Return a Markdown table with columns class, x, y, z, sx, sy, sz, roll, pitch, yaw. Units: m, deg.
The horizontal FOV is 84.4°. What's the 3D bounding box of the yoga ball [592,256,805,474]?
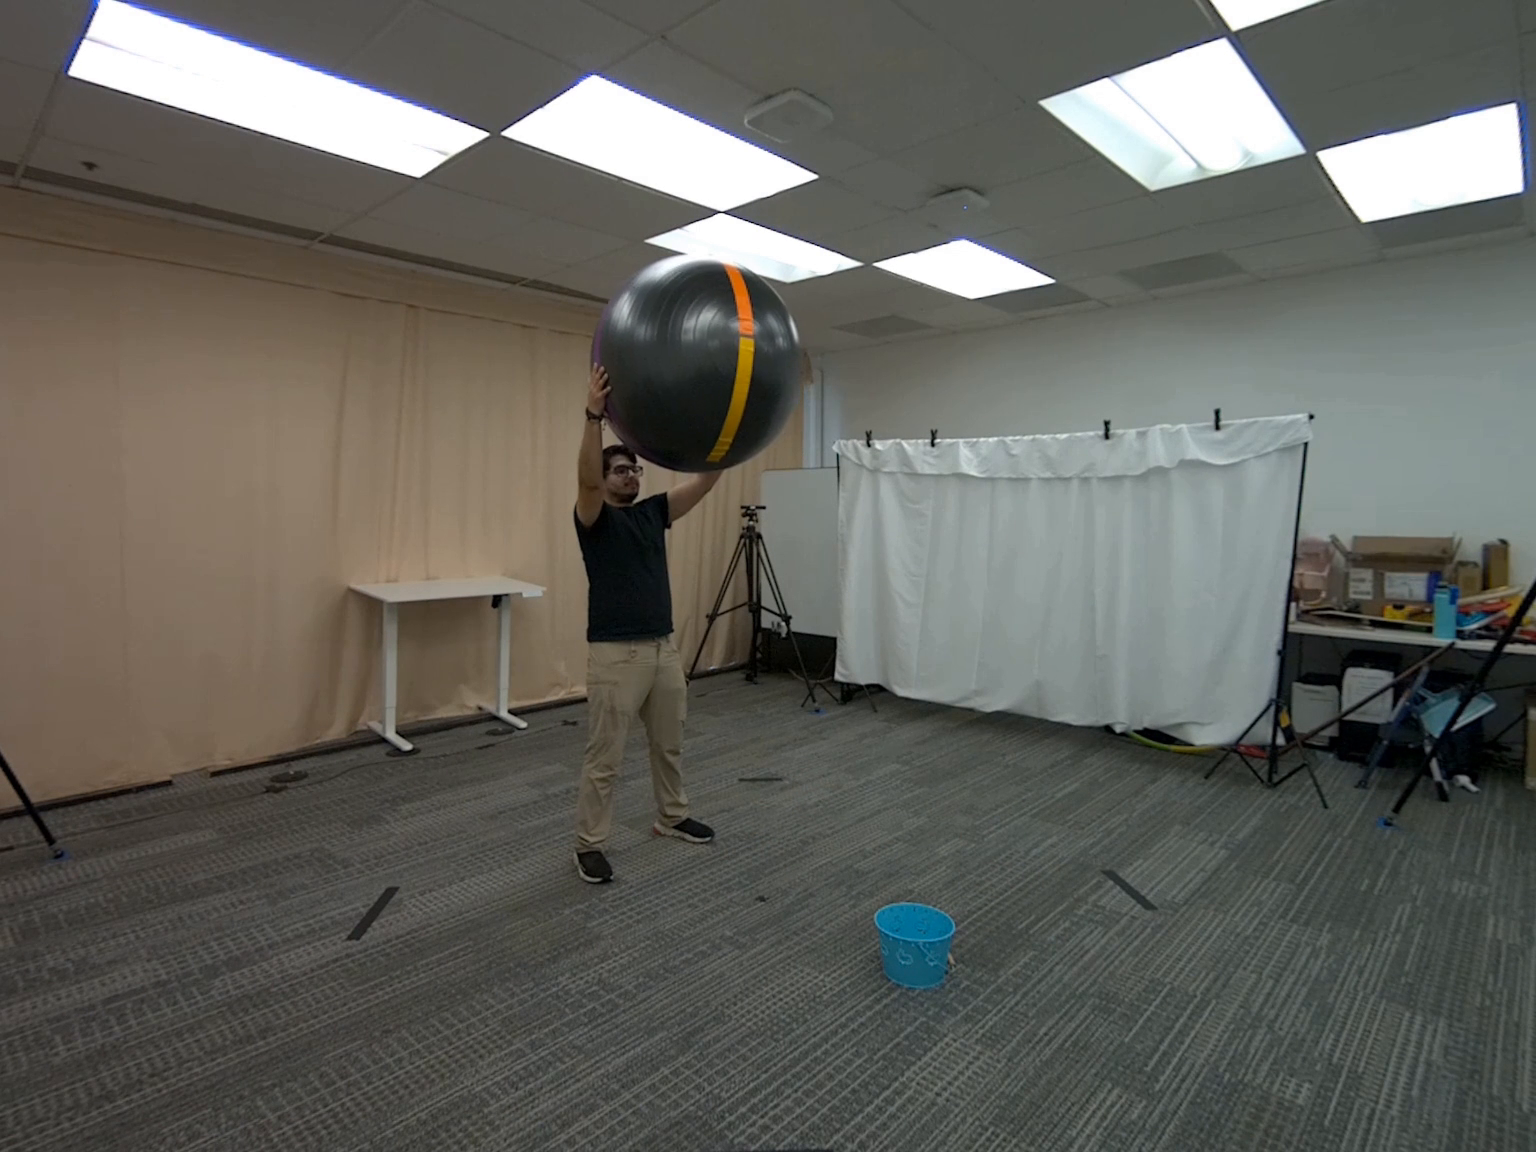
| class | x | y | z | sx | sy | sz | roll | pitch | yaw |
| --- | --- | --- | --- | --- | --- | --- | --- | --- | --- |
| yoga ball | -0.253 | -0.736 | 3.003 | 0.757 | 0.756 | 0.761 | 0 | 4 | -2 |
